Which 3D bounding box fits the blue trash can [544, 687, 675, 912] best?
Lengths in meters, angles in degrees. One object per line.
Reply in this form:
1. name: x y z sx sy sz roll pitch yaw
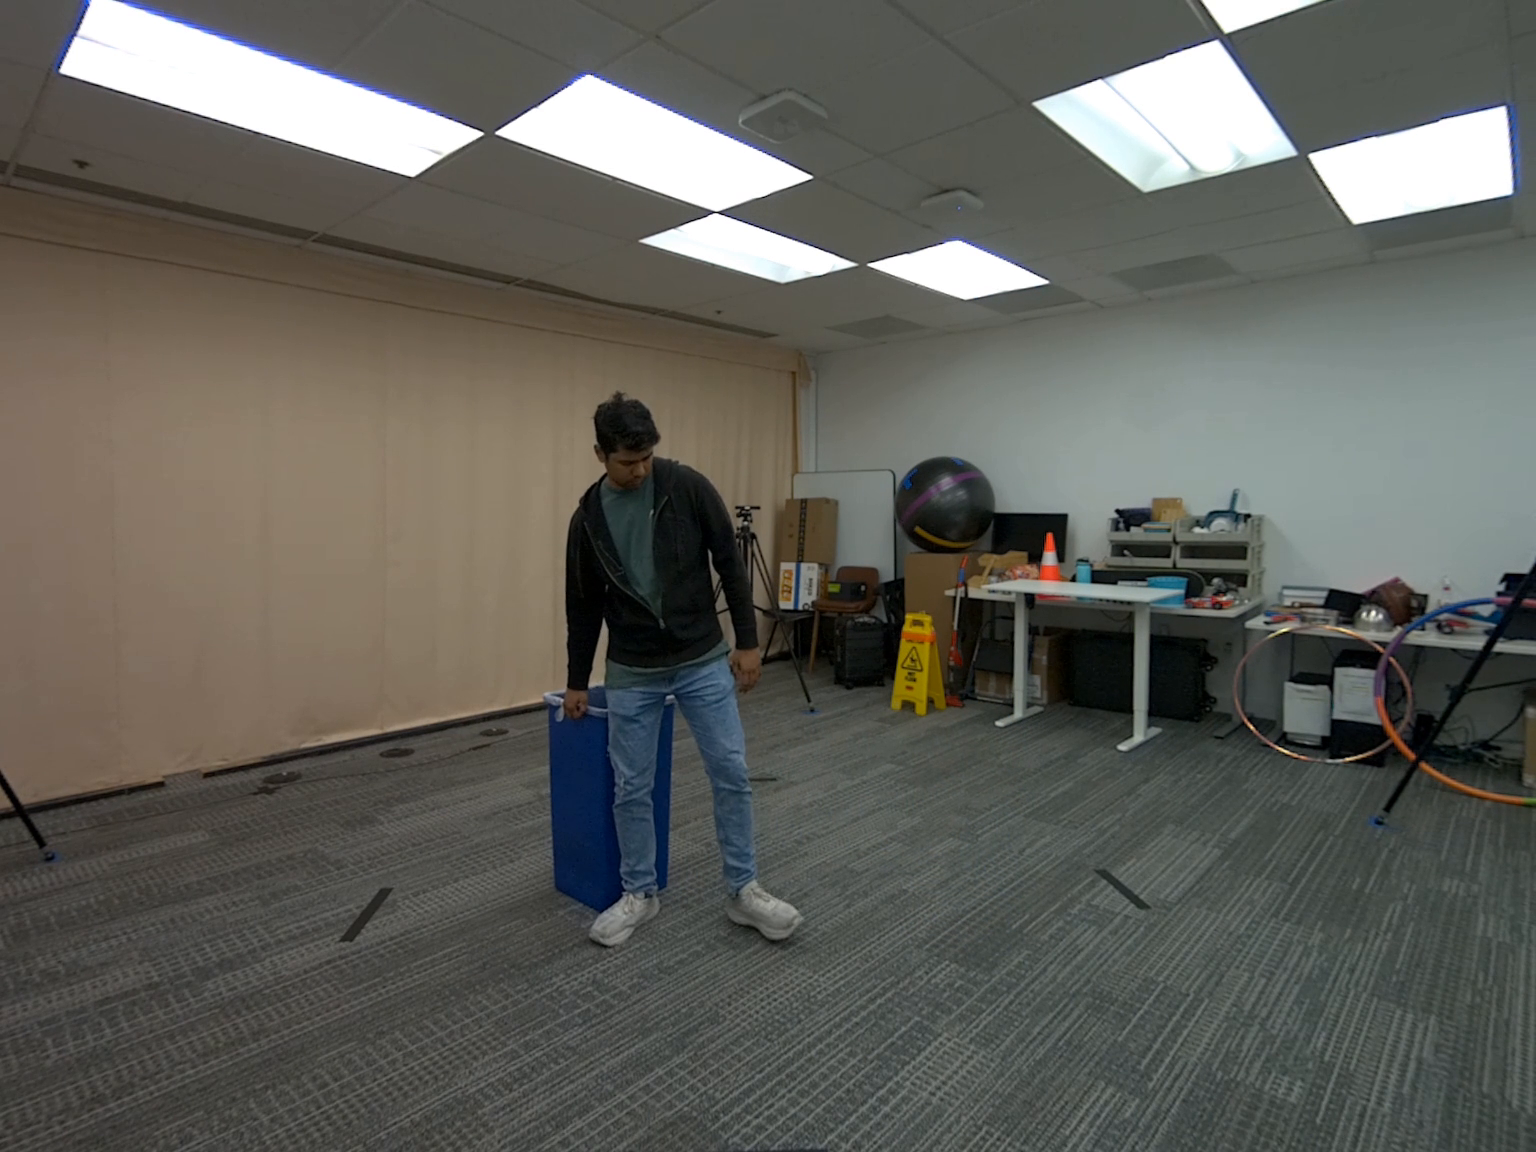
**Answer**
1. blue trash can: -0.562 0.780 3.063 0.386 0.712 0.366 2 3 41
